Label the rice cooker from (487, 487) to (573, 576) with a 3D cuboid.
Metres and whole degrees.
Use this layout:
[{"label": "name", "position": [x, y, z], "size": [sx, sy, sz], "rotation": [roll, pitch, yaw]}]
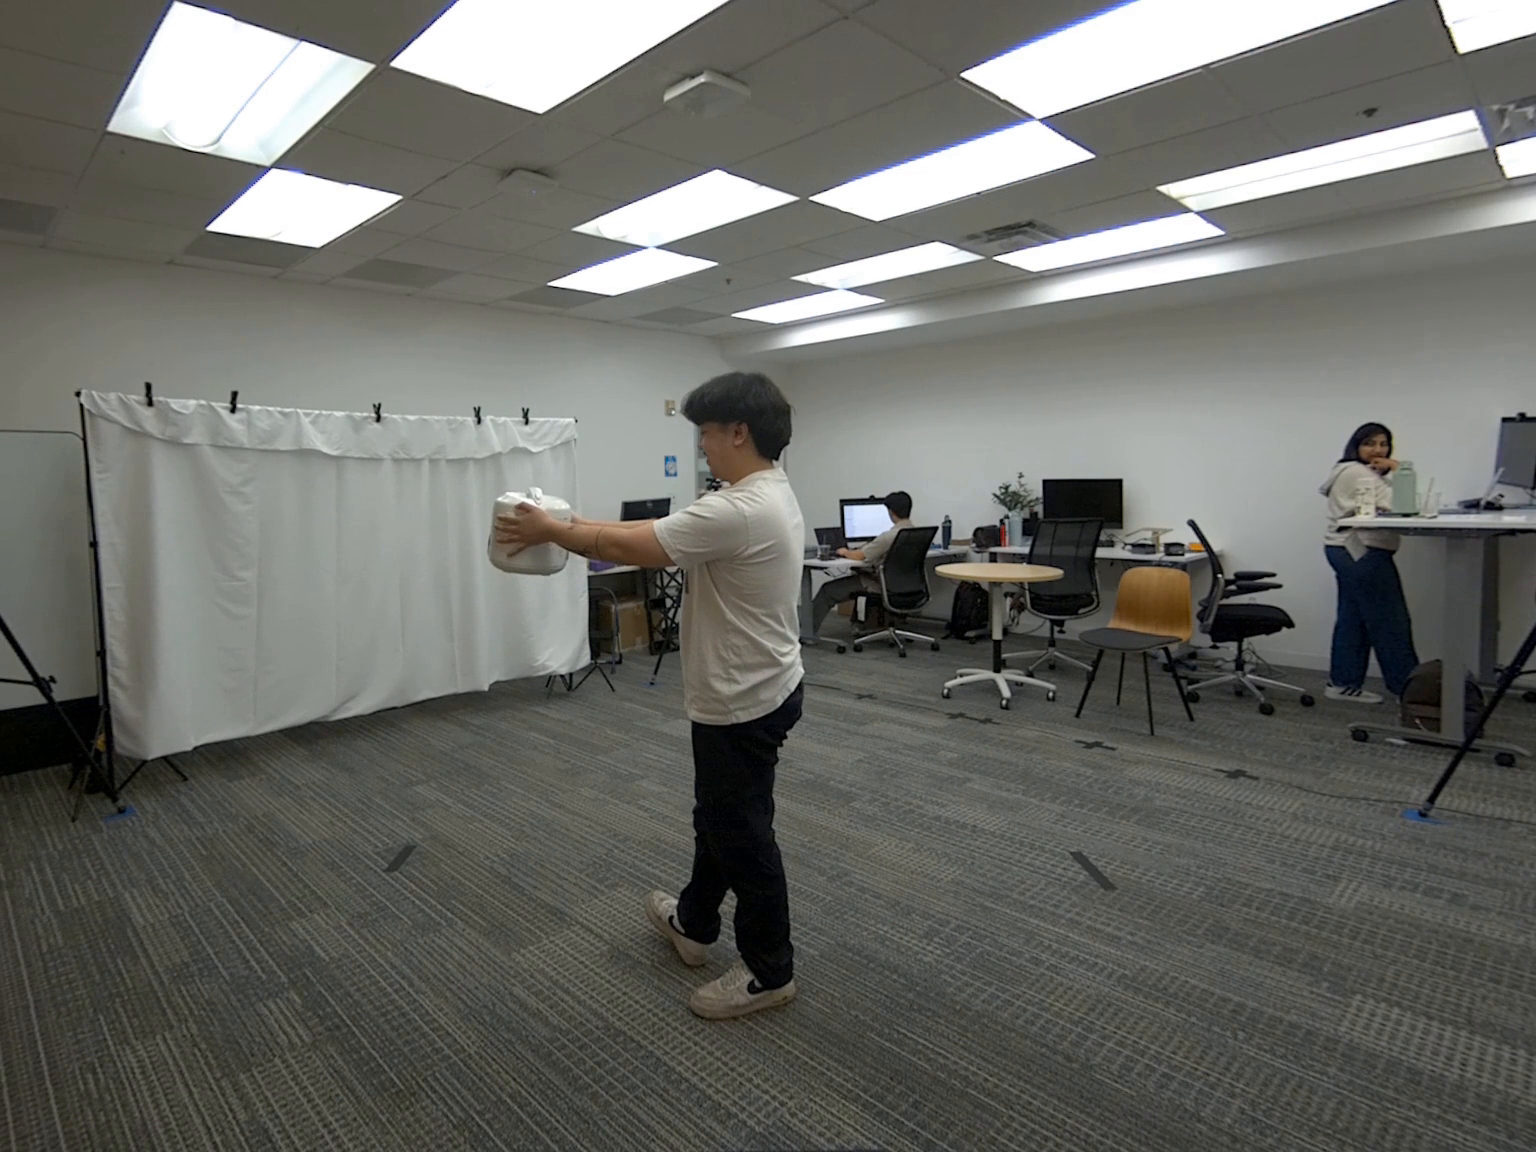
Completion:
[{"label": "rice cooker", "position": [-0.653, -0.129, 2.359], "size": [0.213, 0.231, 0.226], "rotation": [4, 8, -21]}]
